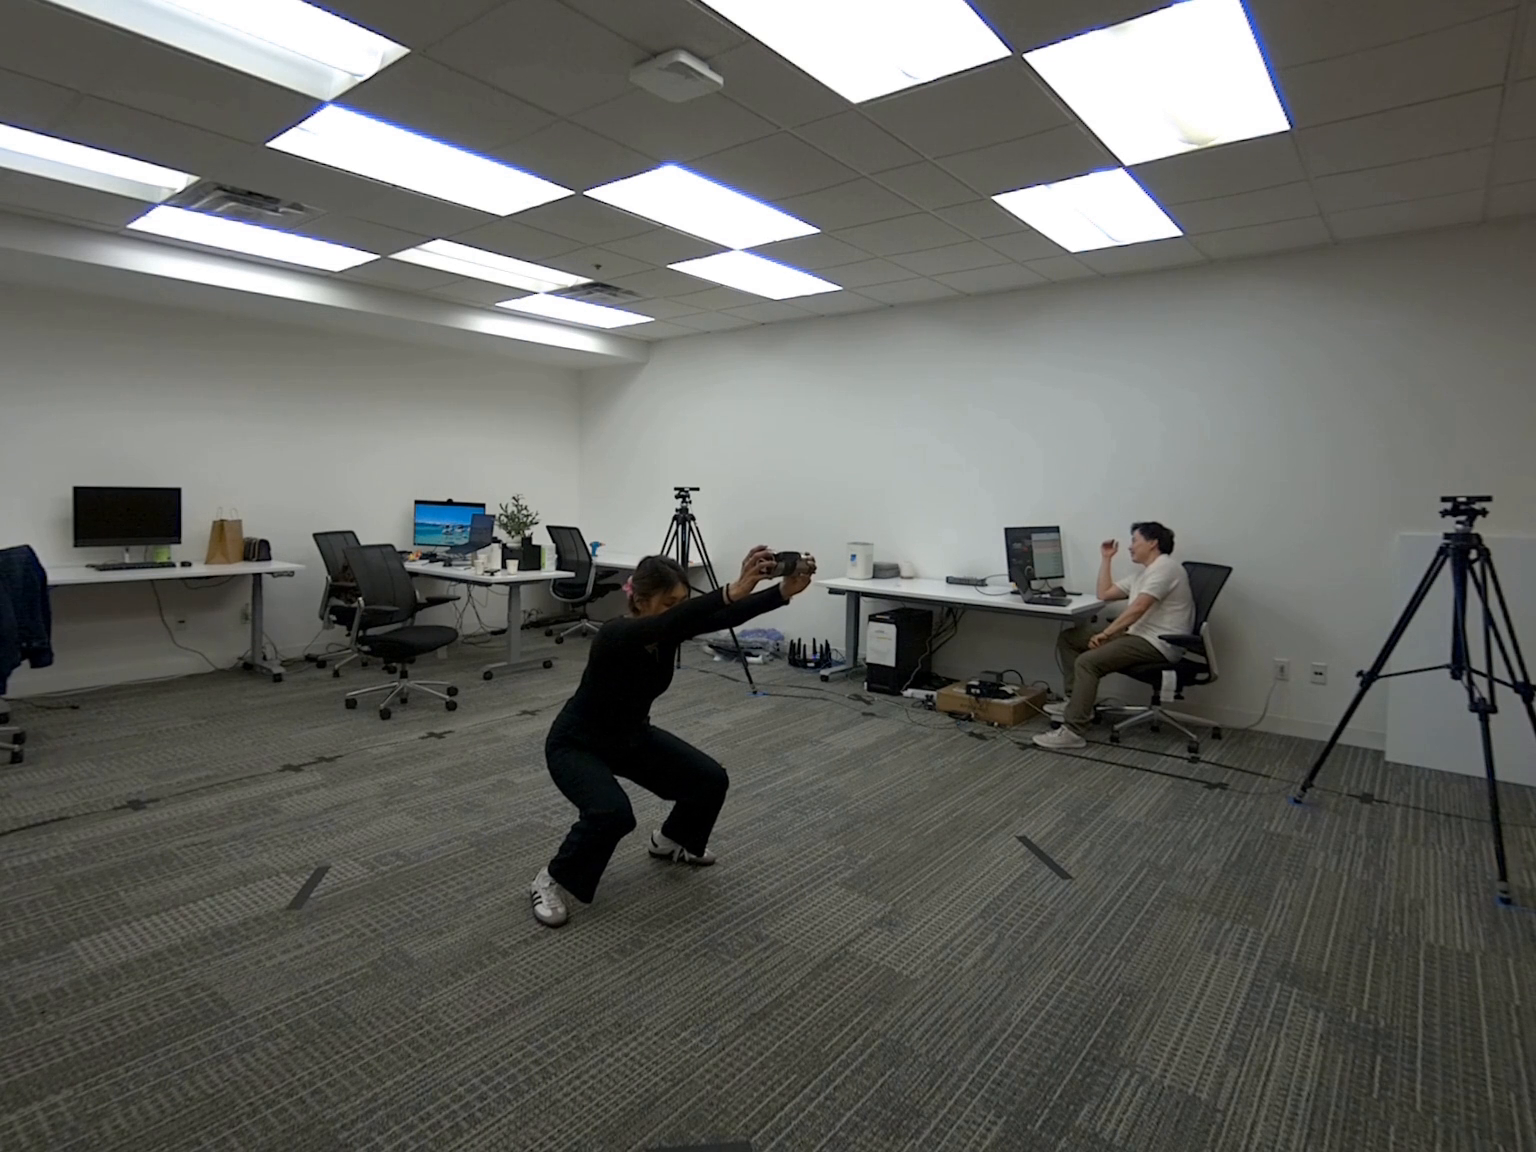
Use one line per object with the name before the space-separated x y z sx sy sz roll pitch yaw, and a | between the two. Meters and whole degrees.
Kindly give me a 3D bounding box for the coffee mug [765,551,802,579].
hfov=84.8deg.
coffee mug | 0.031 -0.029 2.435 0.196 0.088 0.126 5 3 -42
